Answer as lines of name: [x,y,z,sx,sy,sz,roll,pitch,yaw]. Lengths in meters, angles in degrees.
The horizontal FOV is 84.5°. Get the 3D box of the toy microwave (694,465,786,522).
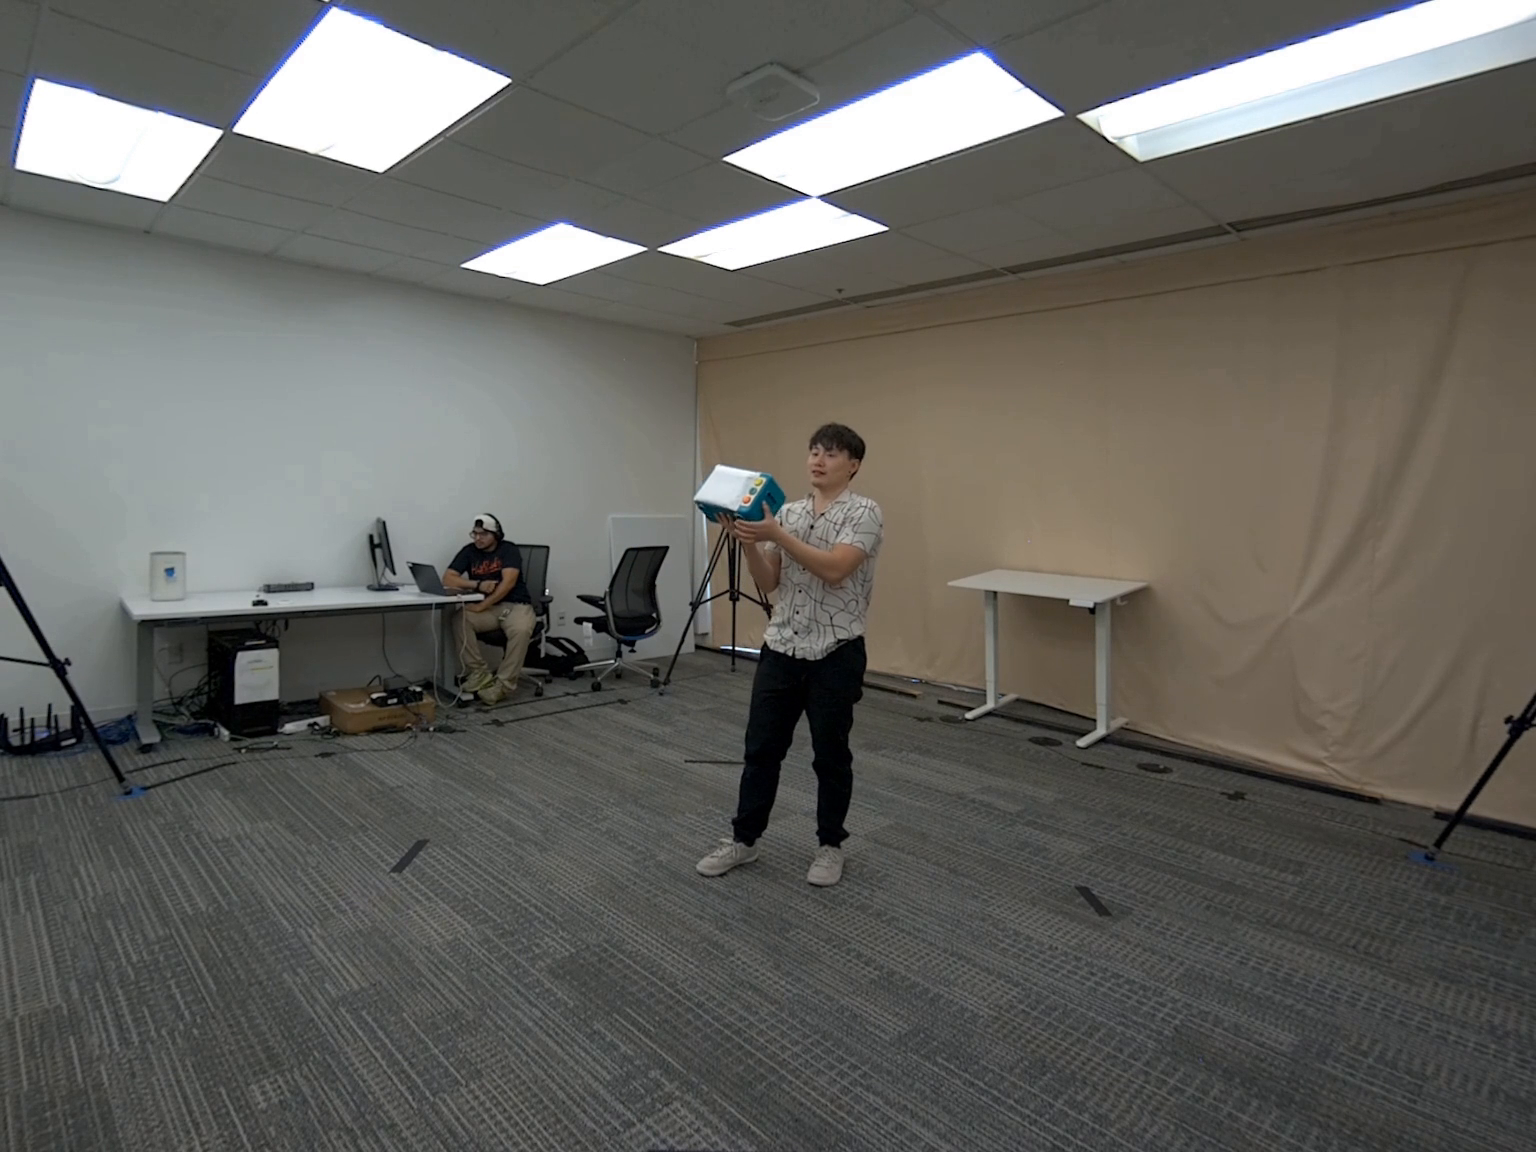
toy microwave: [-0.110,-0.277,2.978,0.294,0.184,0.147,17,-23,42]
